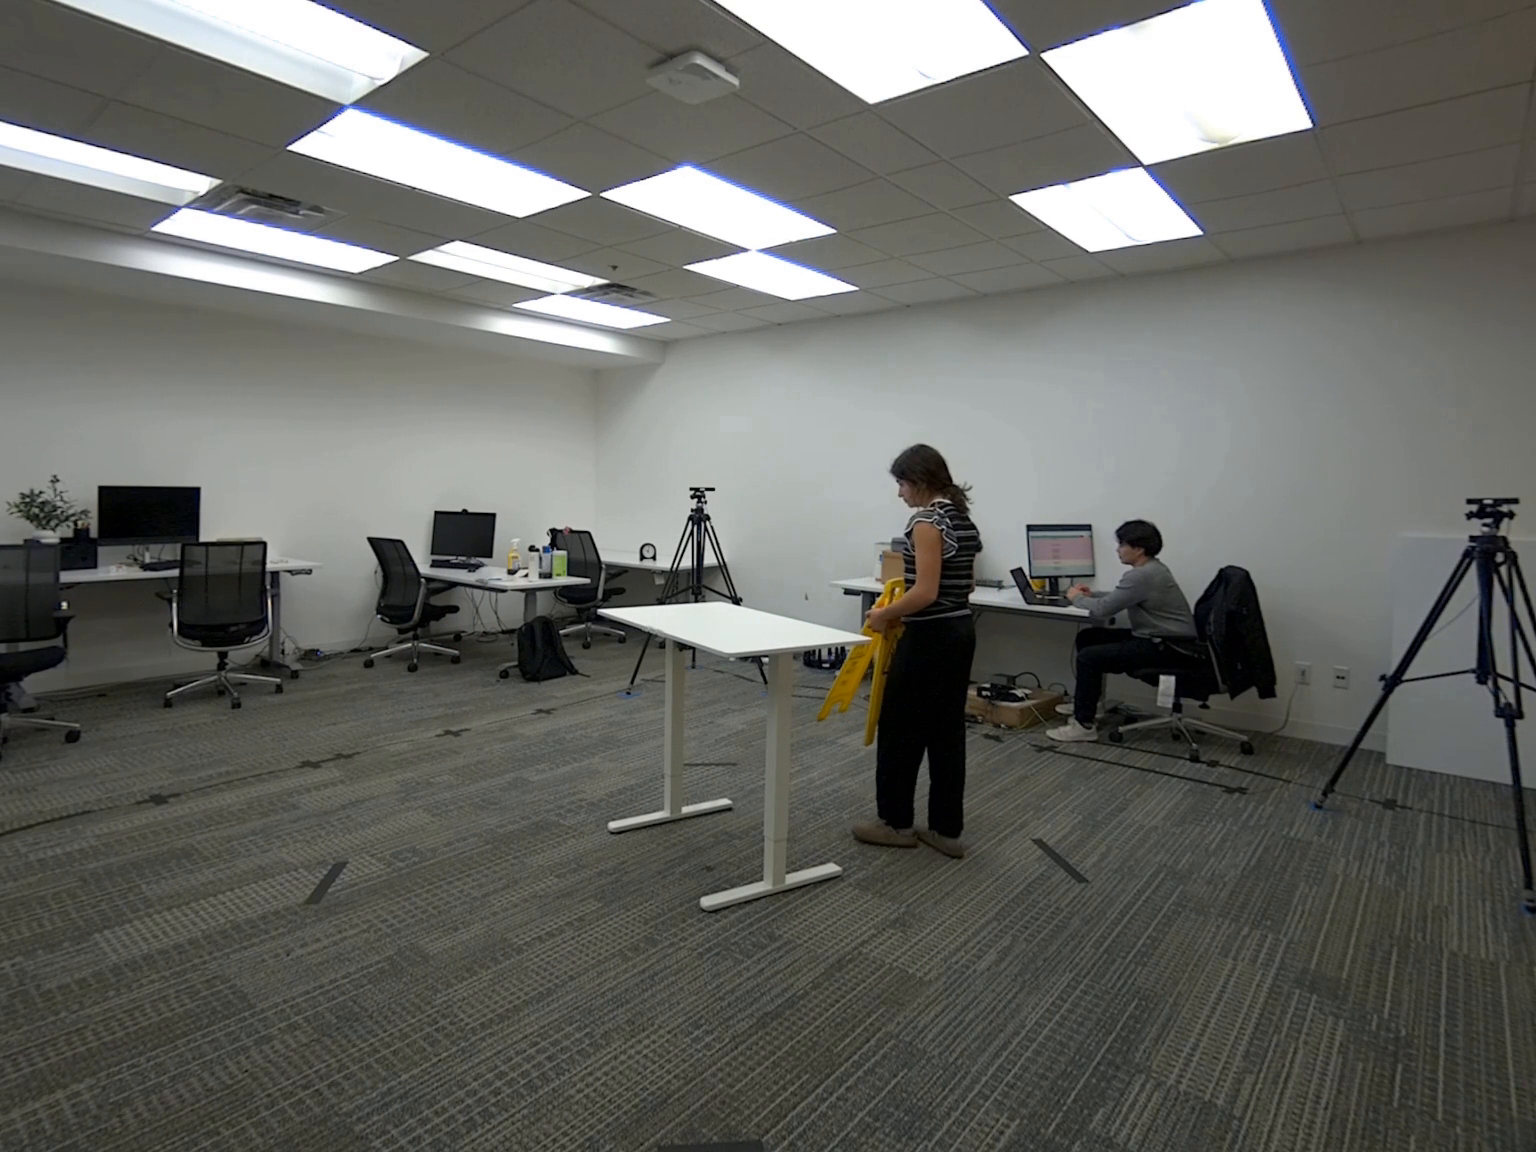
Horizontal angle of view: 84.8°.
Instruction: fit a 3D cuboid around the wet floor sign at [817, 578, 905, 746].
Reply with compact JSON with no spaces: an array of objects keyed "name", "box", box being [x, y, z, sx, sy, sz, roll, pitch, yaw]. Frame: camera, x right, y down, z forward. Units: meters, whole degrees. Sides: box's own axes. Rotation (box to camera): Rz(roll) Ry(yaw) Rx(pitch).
[{"name":"wet floor sign","box":[0.433,0.324,3.485,0.300,0.642,0.274,20,11,31]}]
